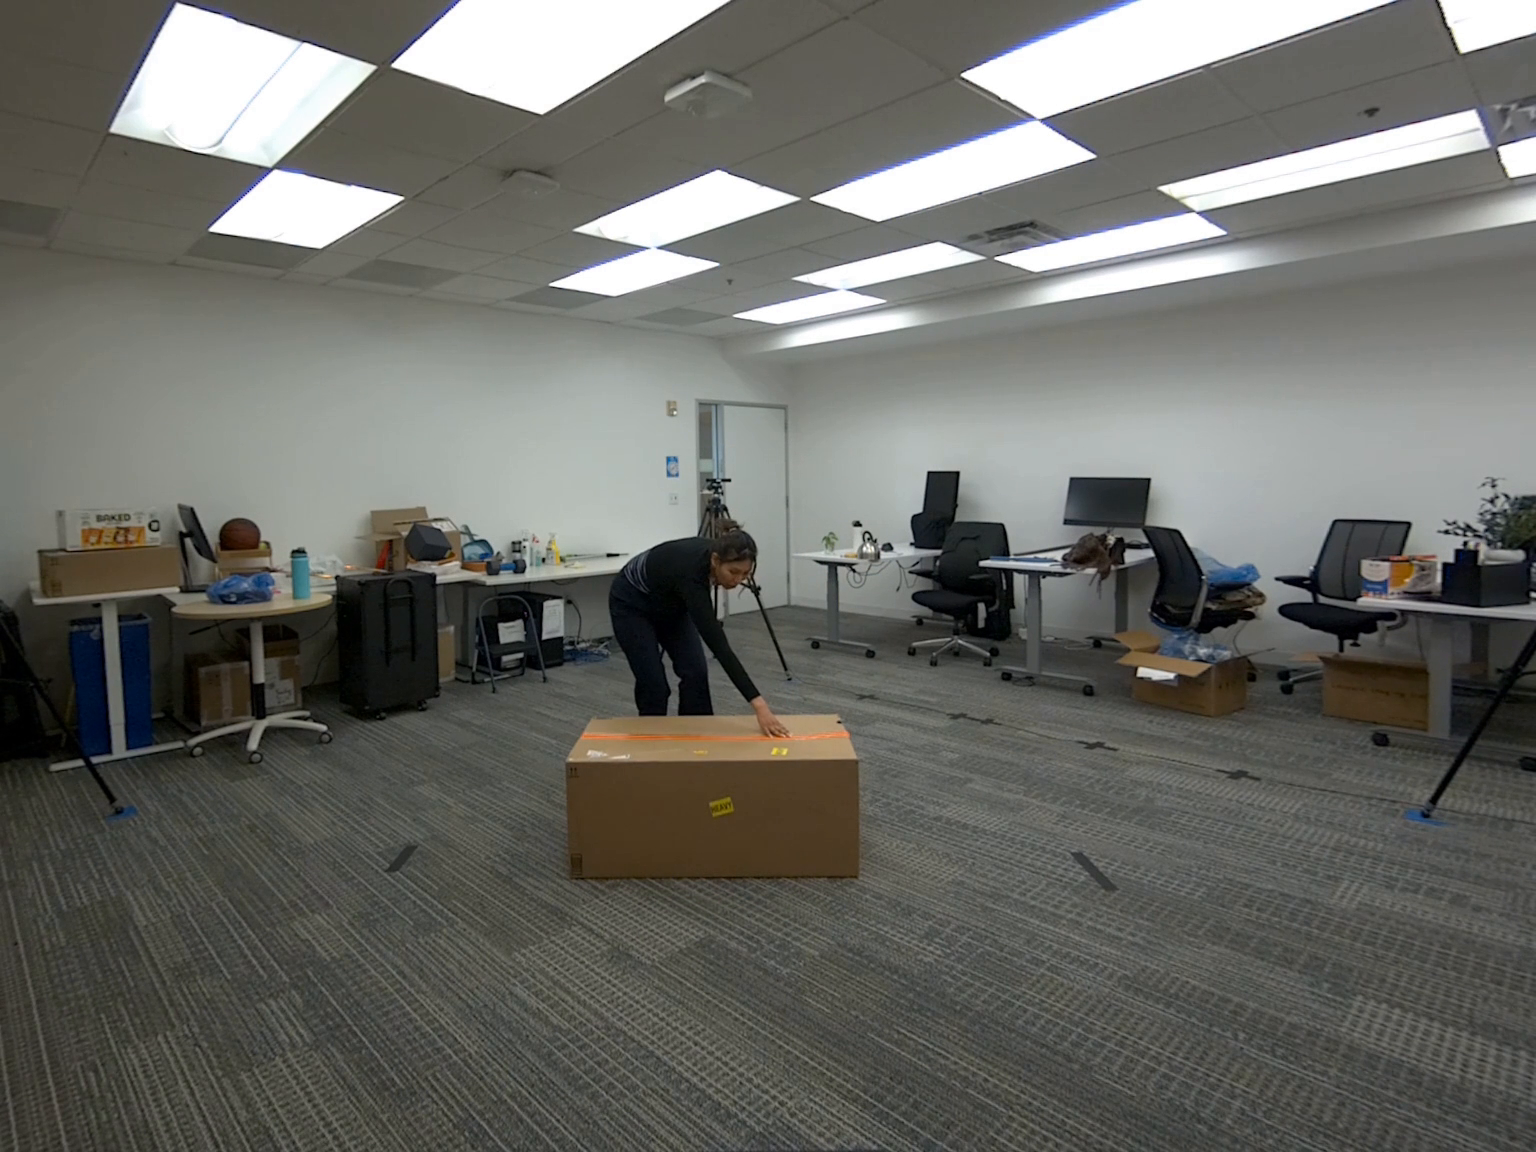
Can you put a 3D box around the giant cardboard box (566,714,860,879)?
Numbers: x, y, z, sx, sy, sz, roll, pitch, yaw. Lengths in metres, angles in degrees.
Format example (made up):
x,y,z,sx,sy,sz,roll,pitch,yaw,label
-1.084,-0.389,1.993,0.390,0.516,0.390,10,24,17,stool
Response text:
x,y,z,sx,sy,sz,roll,pitch,yaw,label
-0.206,0.814,3.264,1.027,0.424,0.580,-1,6,1,giant cardboard box
